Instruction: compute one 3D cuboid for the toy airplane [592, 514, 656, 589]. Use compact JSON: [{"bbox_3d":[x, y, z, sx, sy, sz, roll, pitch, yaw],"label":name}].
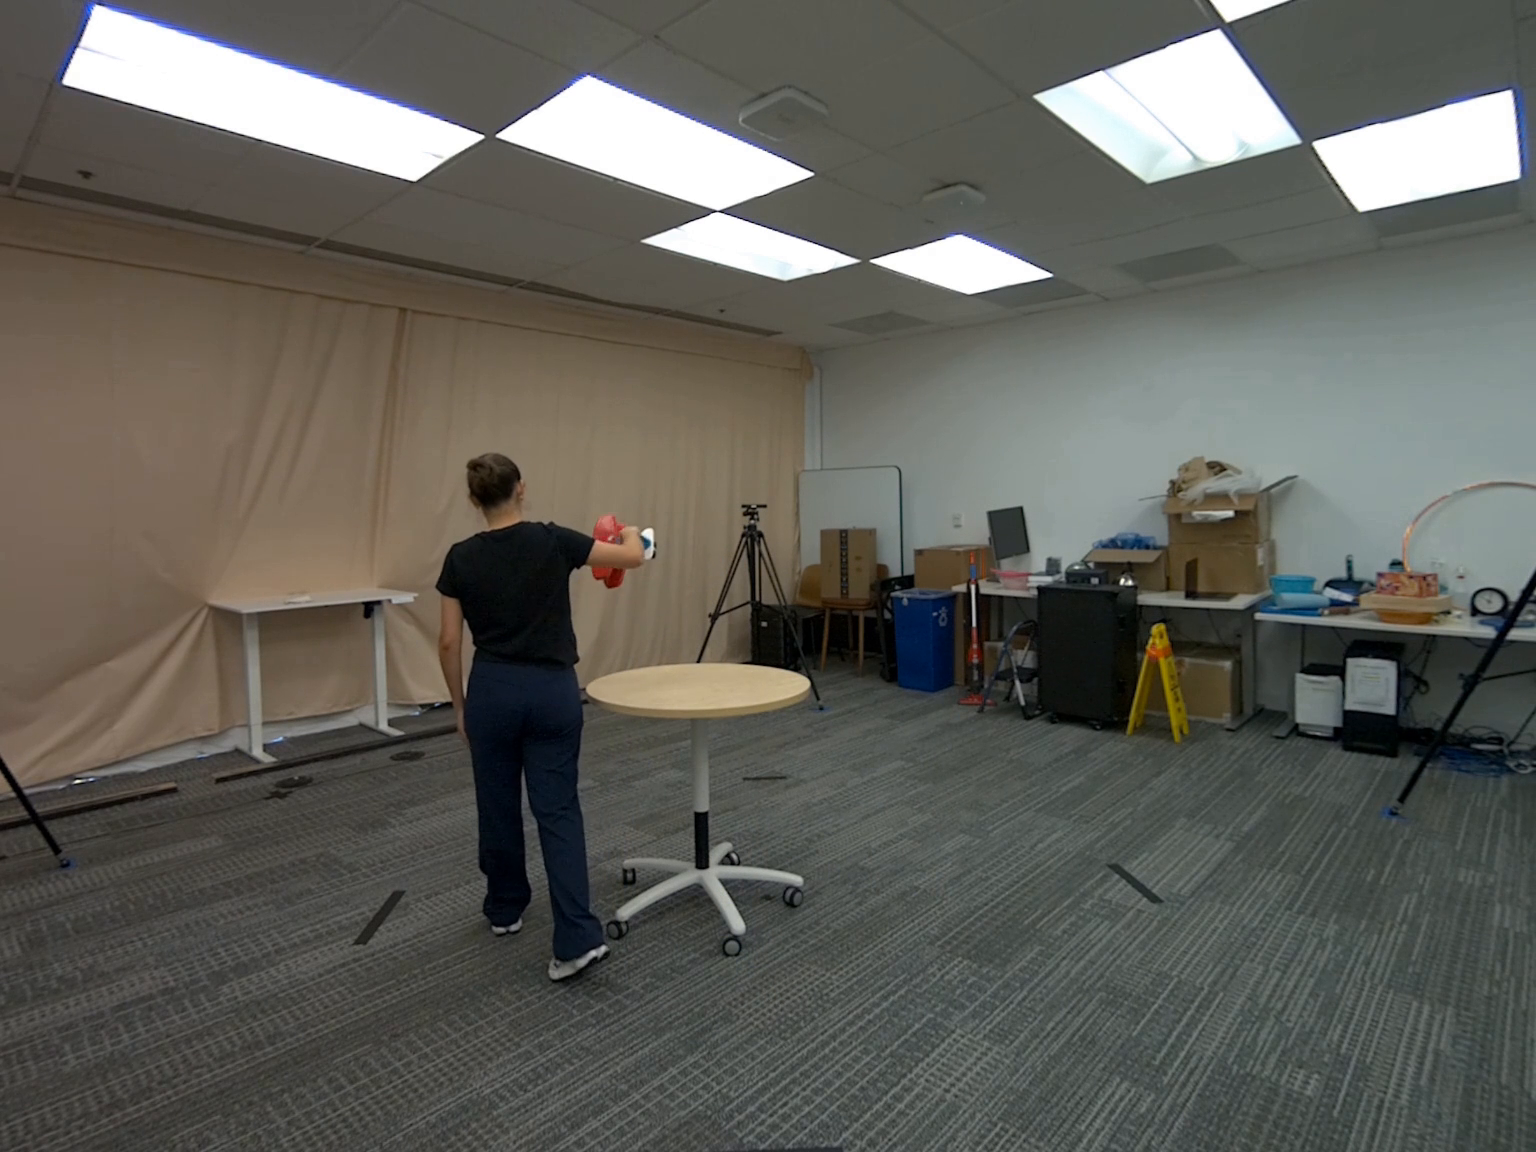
[{"bbox_3d":[-0.508,-0.106,3.008,0.151,0.260,0.259,28,23,-47],"label":"toy airplane"}]
